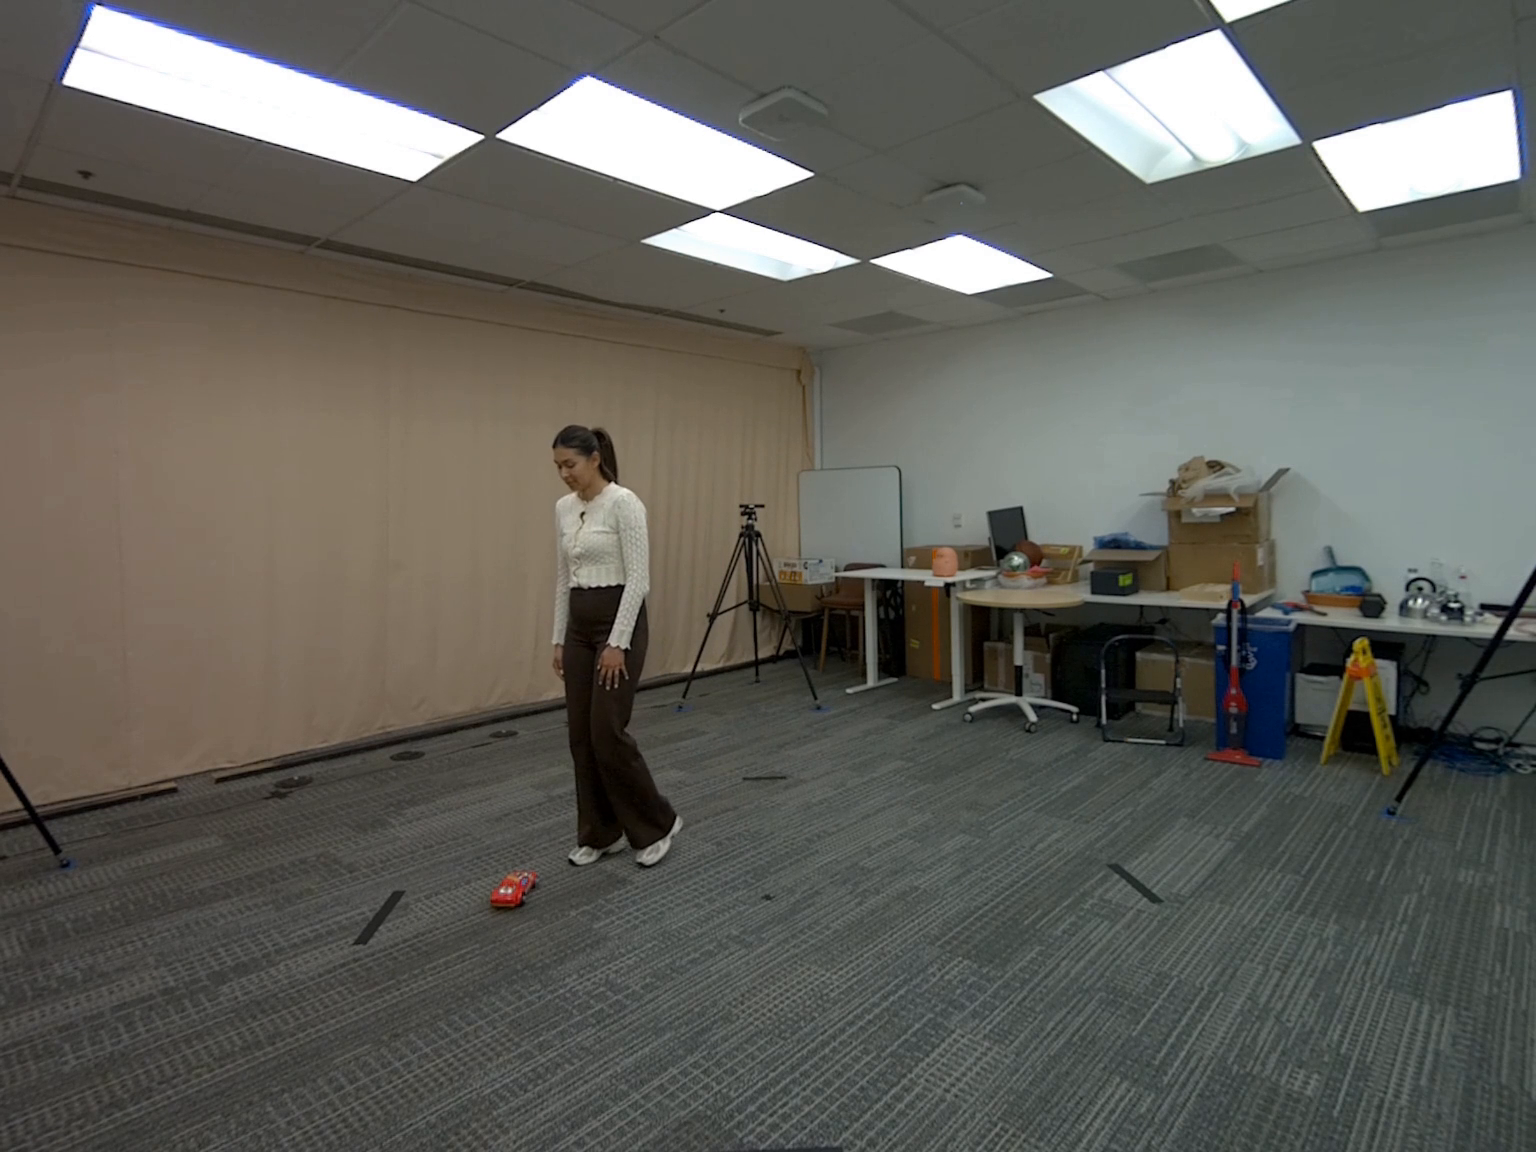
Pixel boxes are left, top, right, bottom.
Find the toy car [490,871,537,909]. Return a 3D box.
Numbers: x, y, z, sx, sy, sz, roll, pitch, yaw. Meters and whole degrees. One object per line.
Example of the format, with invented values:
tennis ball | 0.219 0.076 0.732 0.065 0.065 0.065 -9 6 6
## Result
toy car | -0.919 1.128 3.012 0.131 0.083 0.252 0 -7 4
